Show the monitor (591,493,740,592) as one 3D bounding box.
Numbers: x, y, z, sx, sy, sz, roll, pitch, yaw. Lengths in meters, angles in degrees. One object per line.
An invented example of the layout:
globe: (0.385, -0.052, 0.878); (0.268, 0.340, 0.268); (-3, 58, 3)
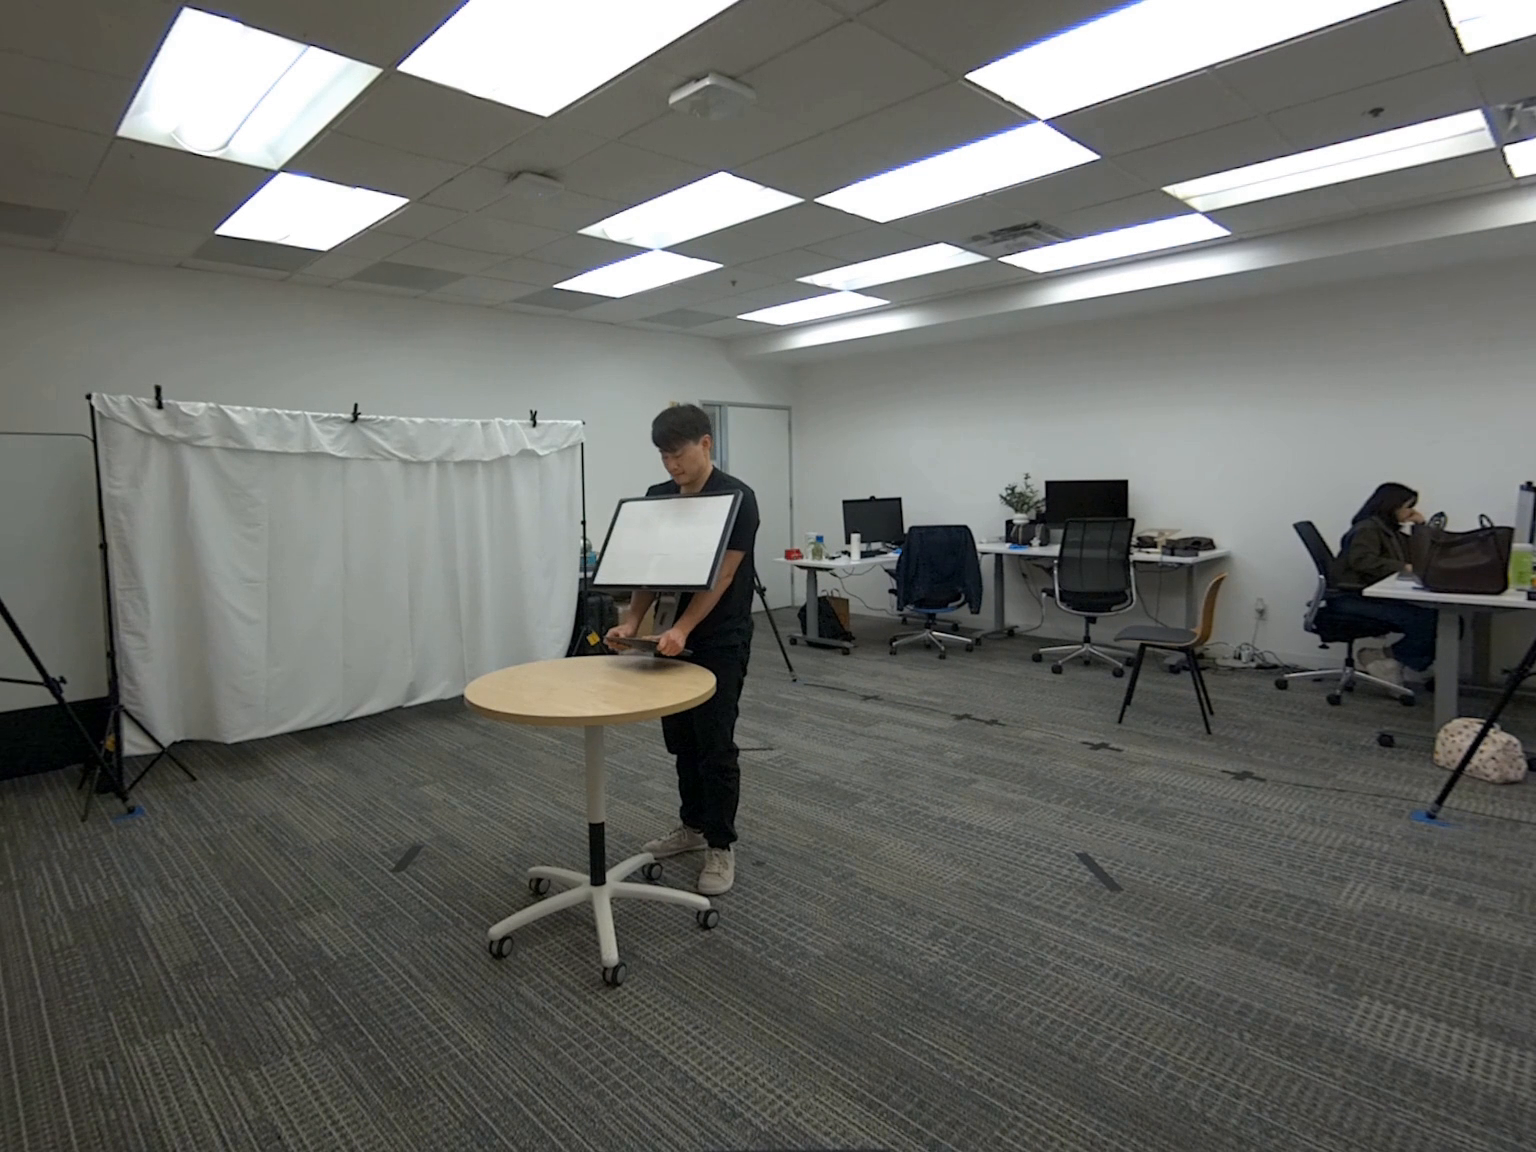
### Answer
monitor: (-0.365, -0.025, 2.912); (0.554, 0.528, 0.180); (0, -17, 36)
